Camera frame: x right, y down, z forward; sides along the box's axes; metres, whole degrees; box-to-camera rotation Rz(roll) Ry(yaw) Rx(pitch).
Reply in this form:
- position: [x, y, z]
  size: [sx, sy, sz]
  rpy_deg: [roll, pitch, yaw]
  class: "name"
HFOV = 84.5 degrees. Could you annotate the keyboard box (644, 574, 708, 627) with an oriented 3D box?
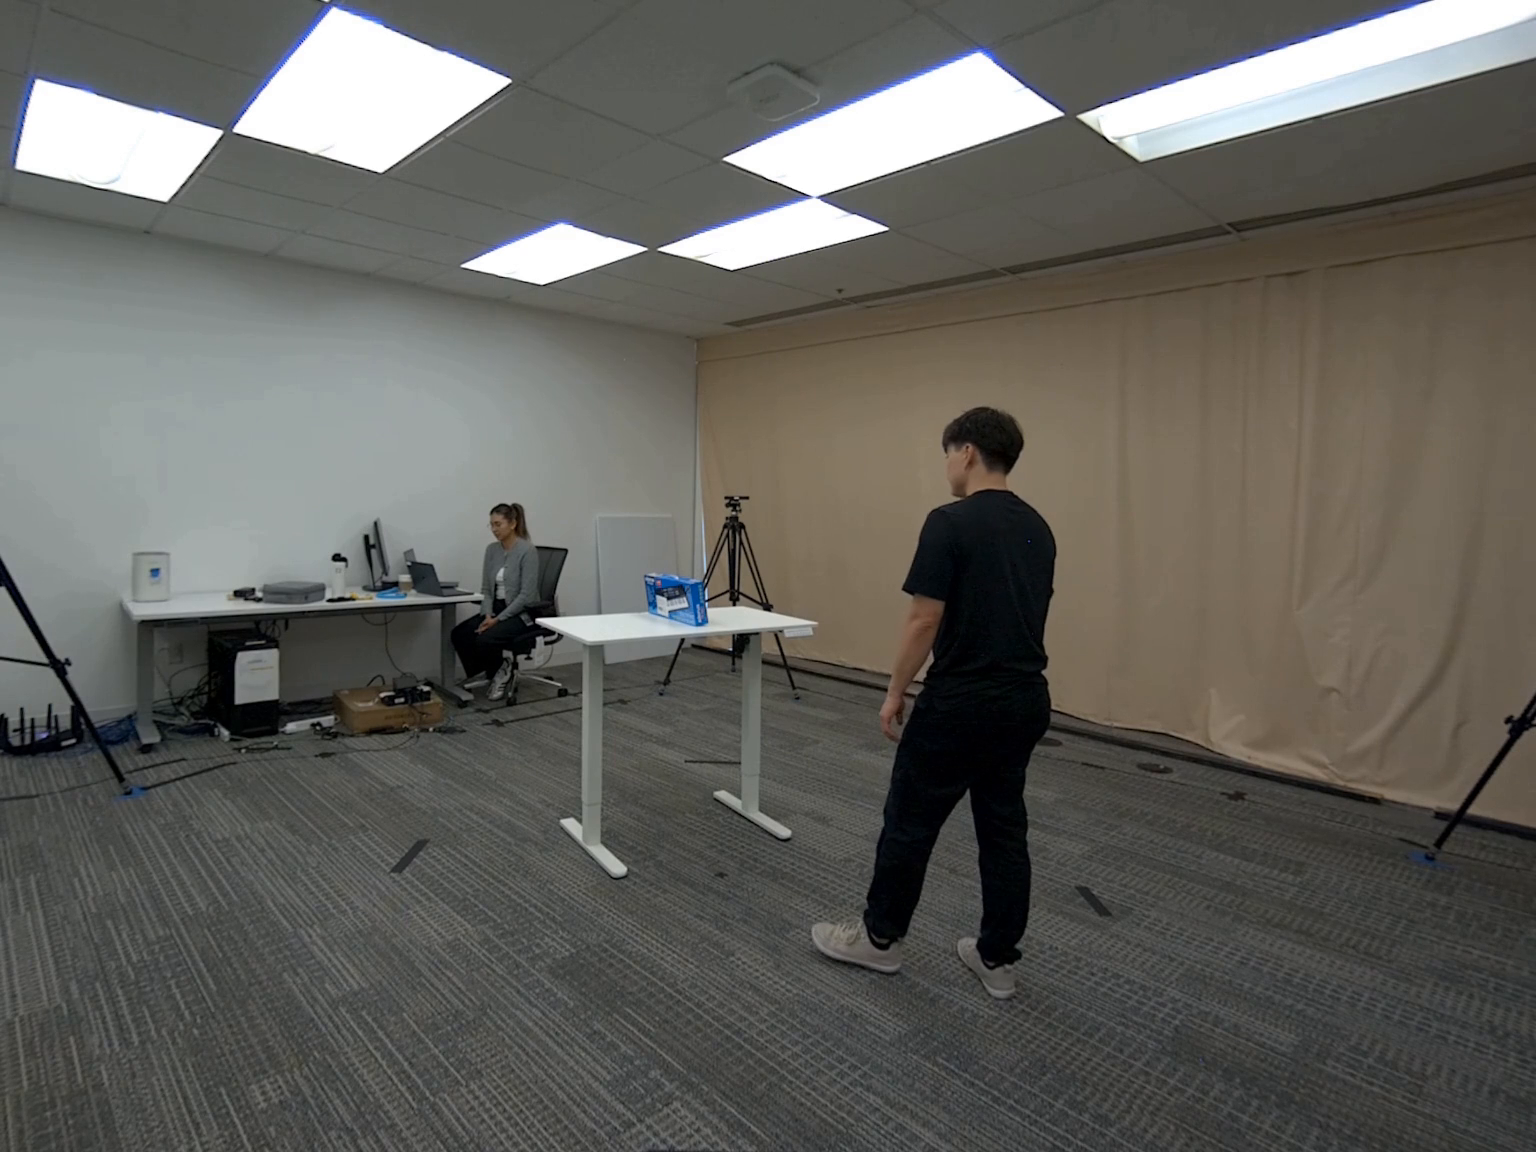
- position: [-0.394, 0.094, 3.494]
  size: [0.058, 0.175, 0.447]
  rpy_deg: [-10, 10, -31]
  class: "keyboard box"
